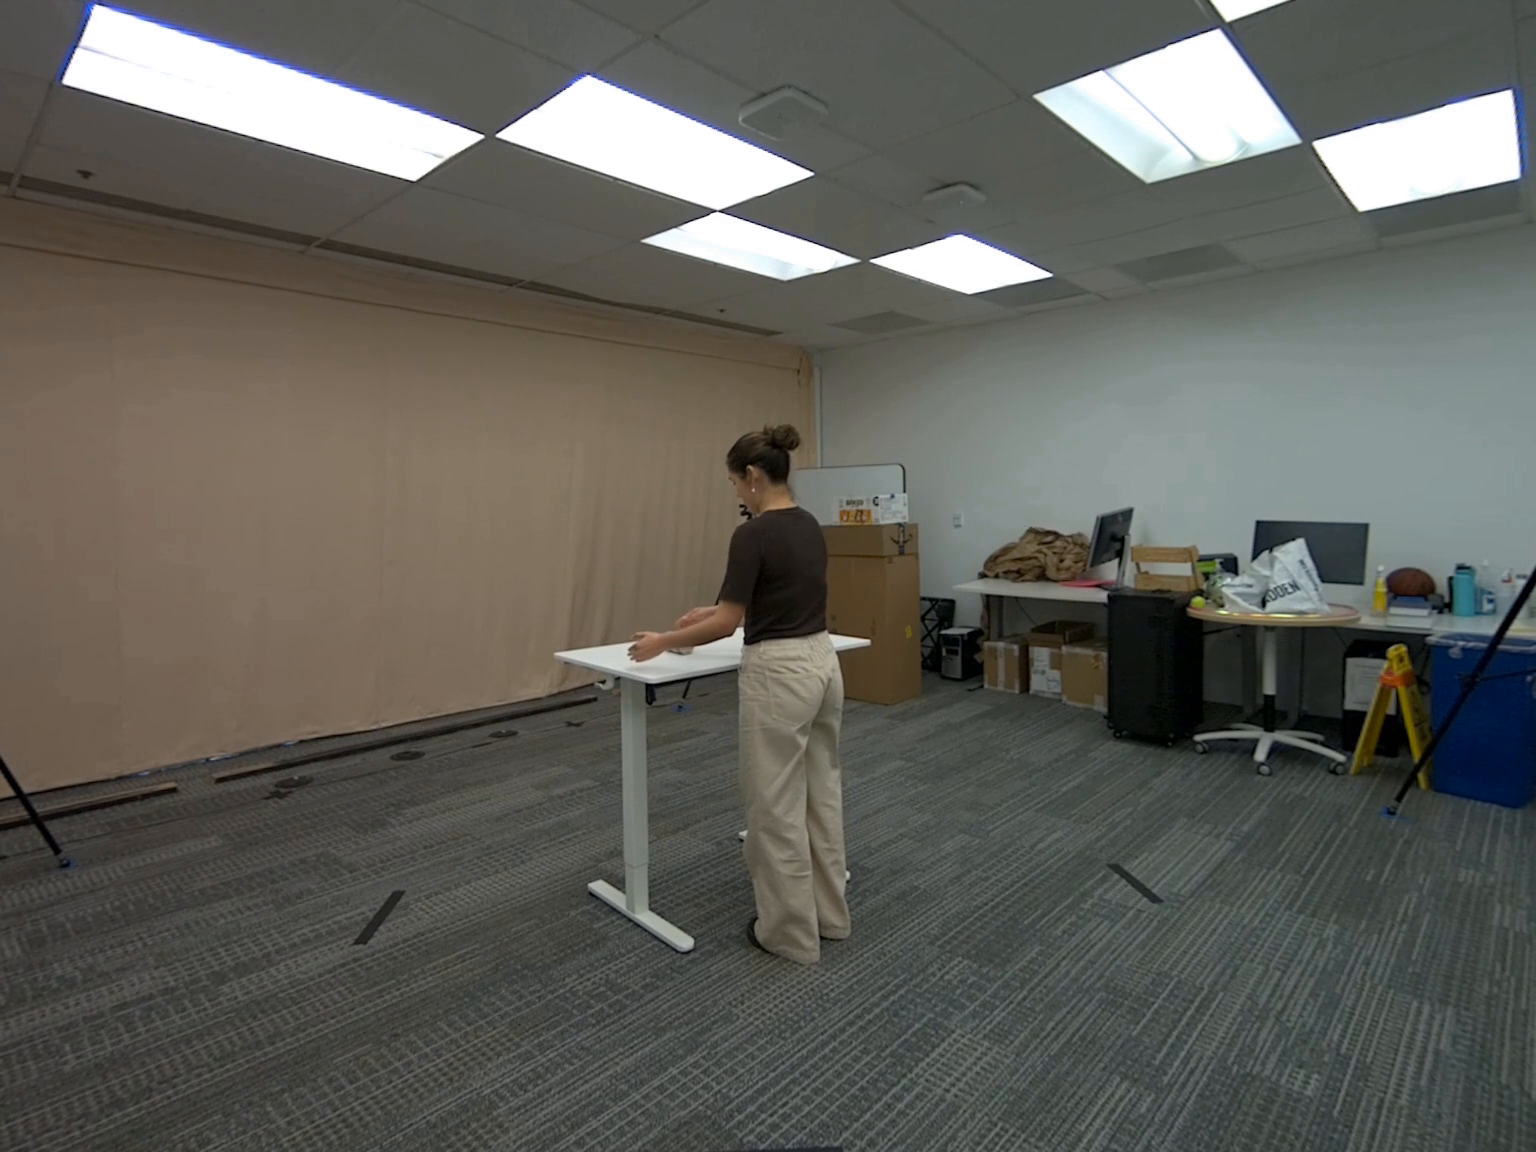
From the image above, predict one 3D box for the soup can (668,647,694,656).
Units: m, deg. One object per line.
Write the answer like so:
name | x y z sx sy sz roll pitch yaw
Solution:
soup can | -0.312 0.232 2.925 0.065 0.067 0.125 -3 6 -28
